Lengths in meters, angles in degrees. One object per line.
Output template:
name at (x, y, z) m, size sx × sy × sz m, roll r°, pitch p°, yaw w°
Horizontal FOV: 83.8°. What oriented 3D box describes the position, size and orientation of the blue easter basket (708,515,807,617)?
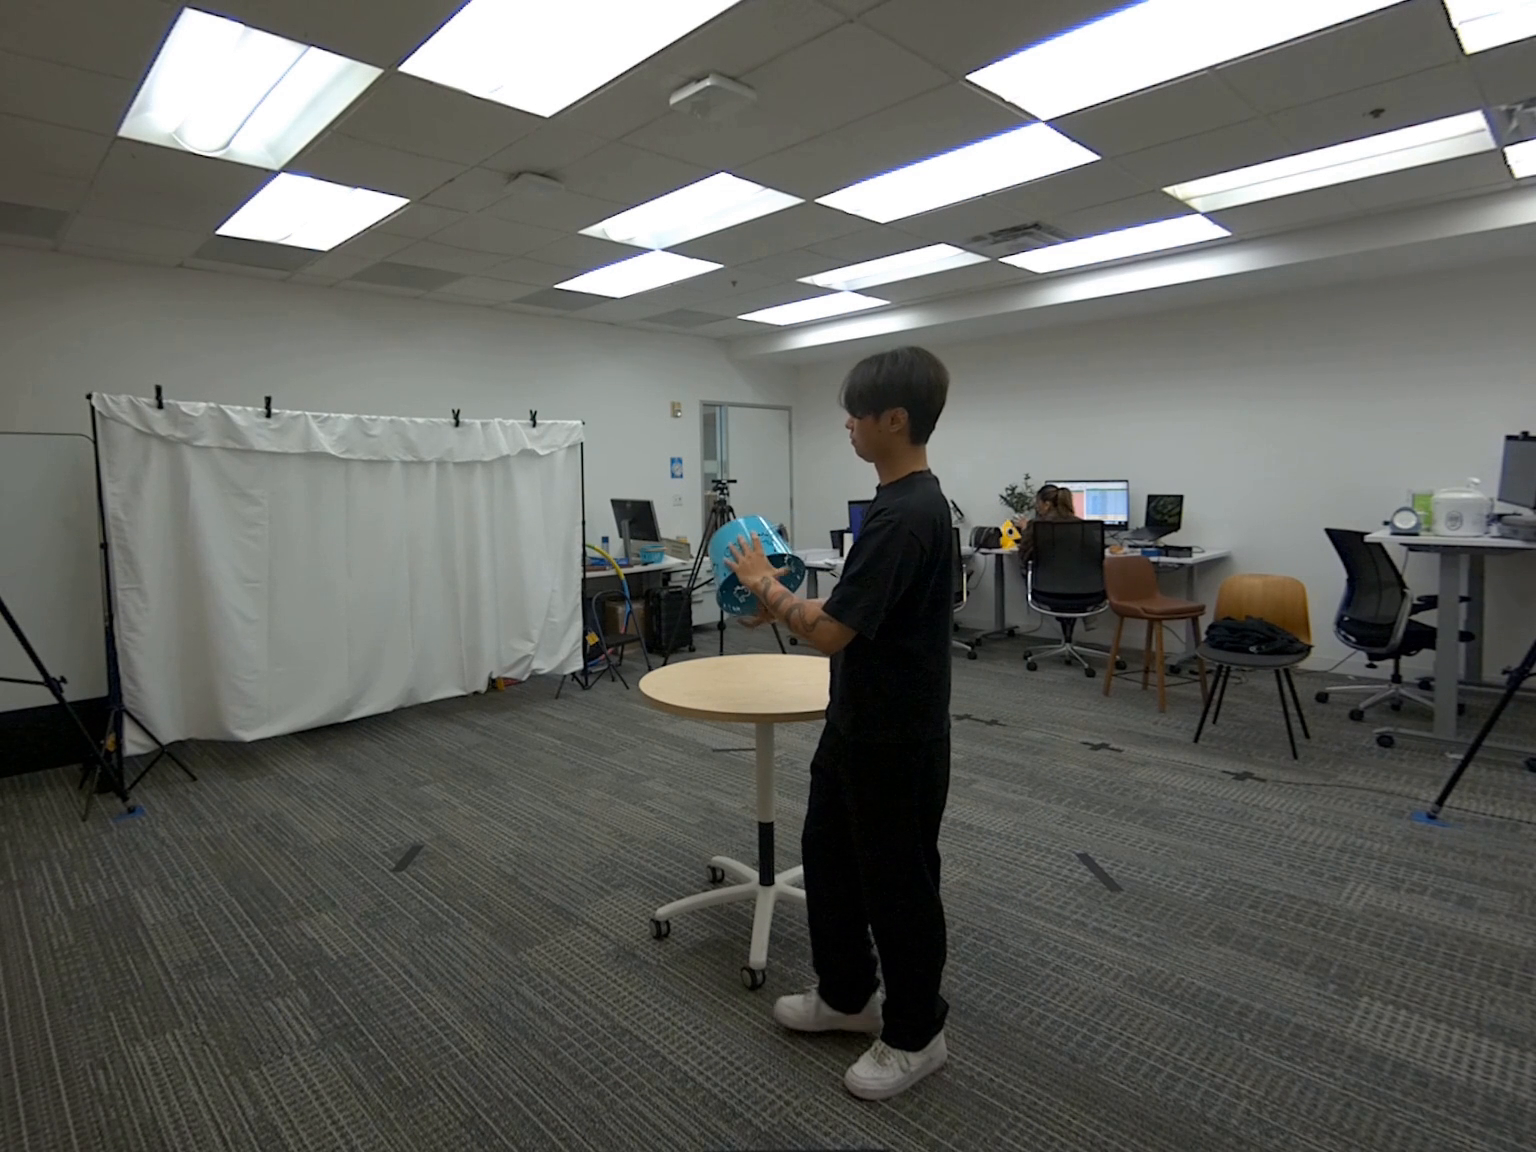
blue easter basket at (-0.039, -0.030, 2.140) m, size 0.238 × 0.161 × 0.240 m, roll -4°, pitch -40°, yaw -29°
